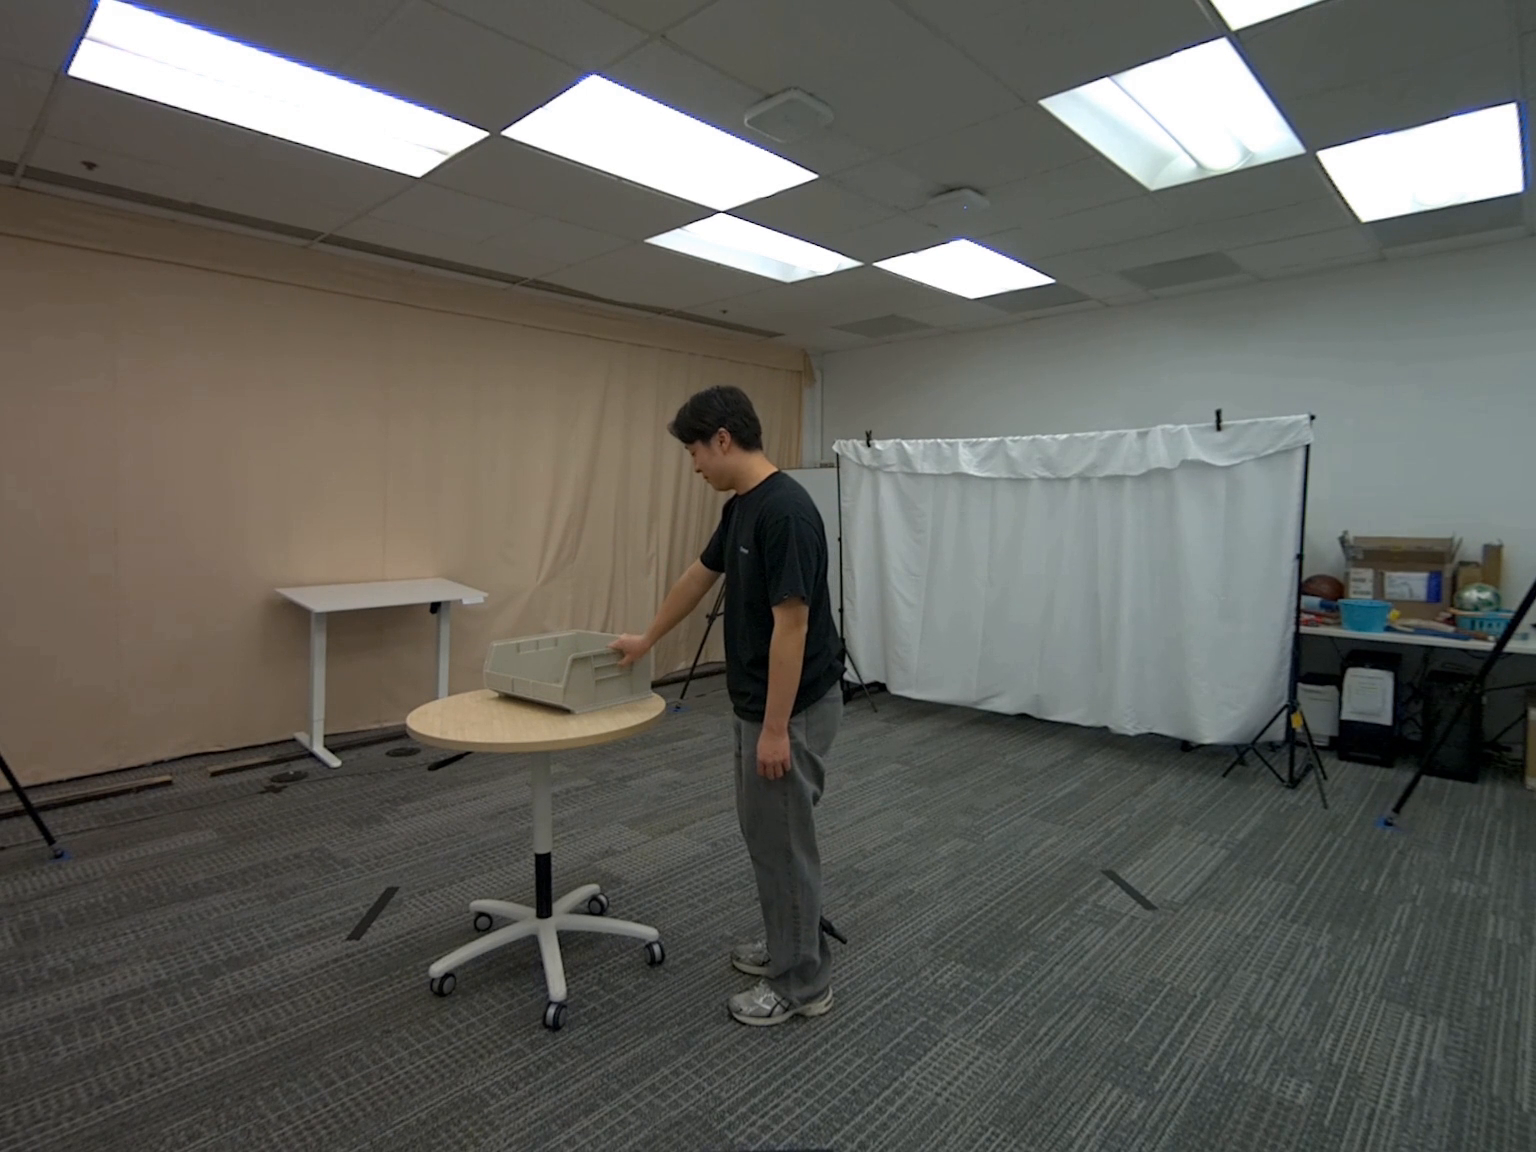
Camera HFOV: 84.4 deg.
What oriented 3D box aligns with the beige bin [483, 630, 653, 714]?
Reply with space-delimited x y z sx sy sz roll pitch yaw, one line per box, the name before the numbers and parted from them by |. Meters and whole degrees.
beige bin | -0.630 0.301 2.698 0.436 0.189 0.366 2 4 42
